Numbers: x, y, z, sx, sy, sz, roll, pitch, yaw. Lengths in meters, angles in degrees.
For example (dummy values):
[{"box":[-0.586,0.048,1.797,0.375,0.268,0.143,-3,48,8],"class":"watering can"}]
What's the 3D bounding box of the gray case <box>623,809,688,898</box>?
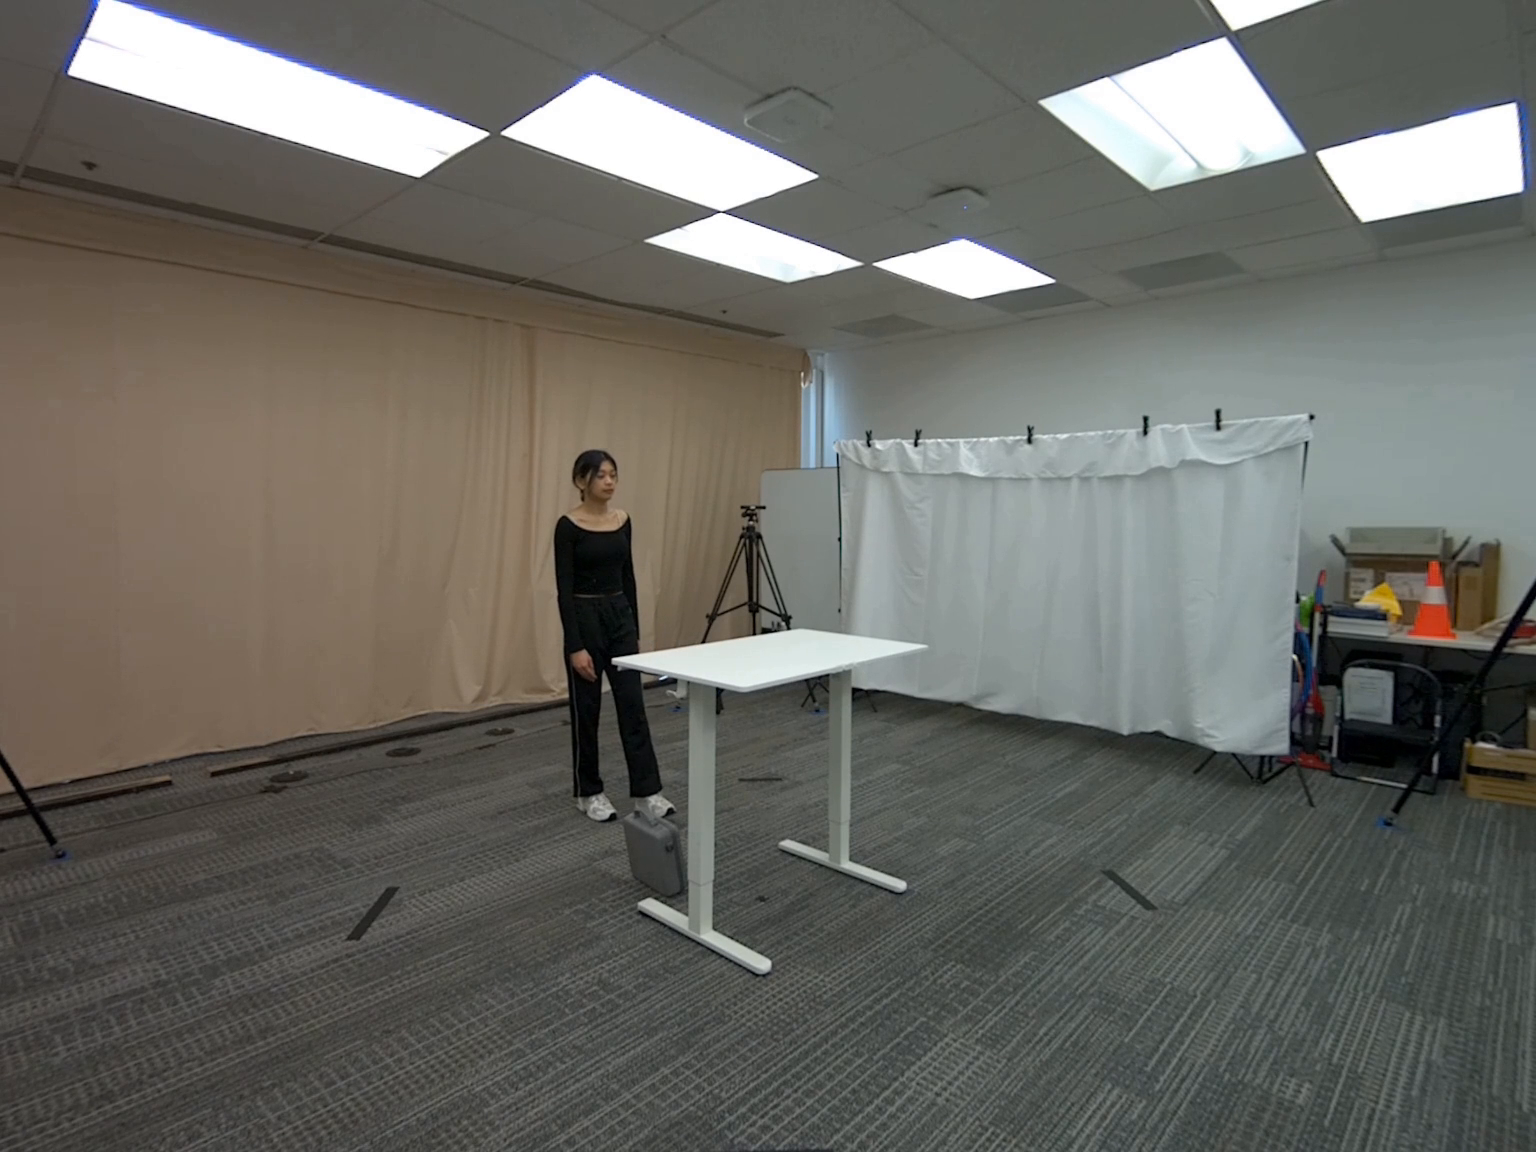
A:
[{"box":[-0.415,1.006,3.084,0.102,0.259,0.265,-15,12,-37],"class":"gray case"}]
